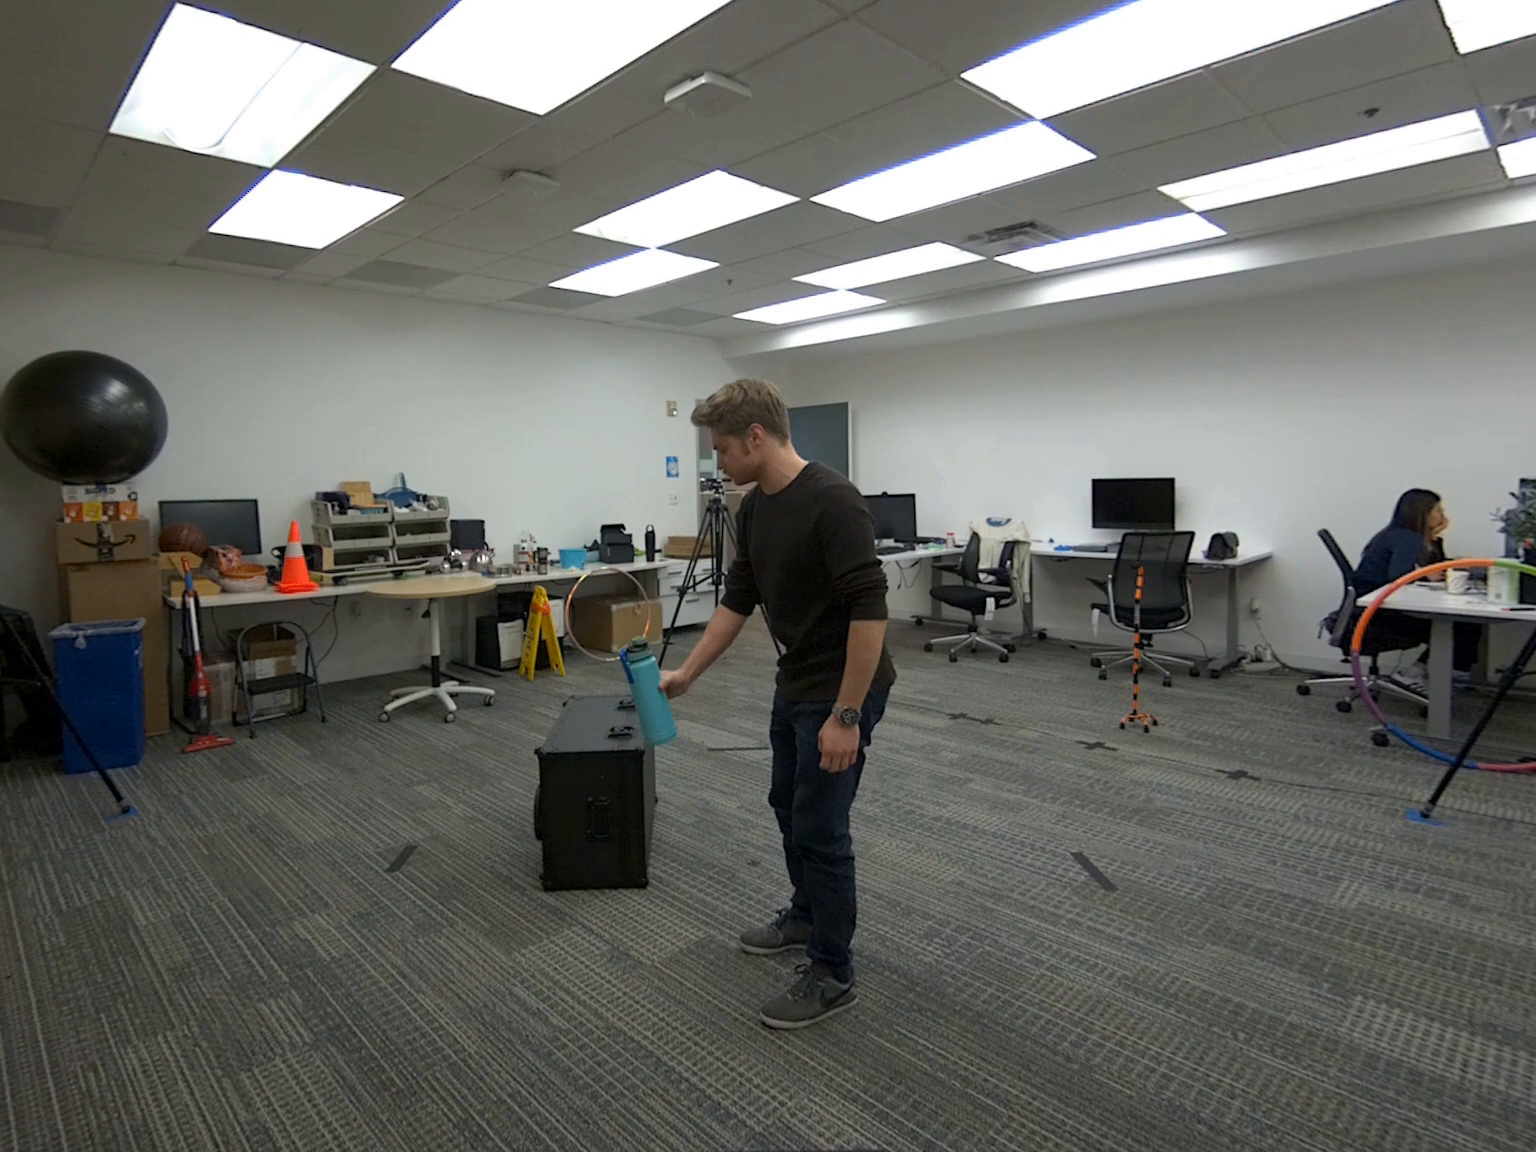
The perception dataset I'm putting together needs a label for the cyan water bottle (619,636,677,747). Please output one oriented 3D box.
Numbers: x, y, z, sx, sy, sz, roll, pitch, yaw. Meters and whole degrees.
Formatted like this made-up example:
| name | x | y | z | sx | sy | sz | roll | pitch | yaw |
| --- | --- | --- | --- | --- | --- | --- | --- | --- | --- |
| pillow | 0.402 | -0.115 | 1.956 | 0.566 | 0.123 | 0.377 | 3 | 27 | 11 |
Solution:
| name | x | y | z | sx | sy | sz | roll | pitch | yaw |
| --- | --- | --- | --- | --- | --- | --- | --- | --- | --- |
| cyan water bottle | -0.316 | 0.307 | 2.289 | 0.092 | 0.282 | 0.093 | -16 | 4 | 0 |
